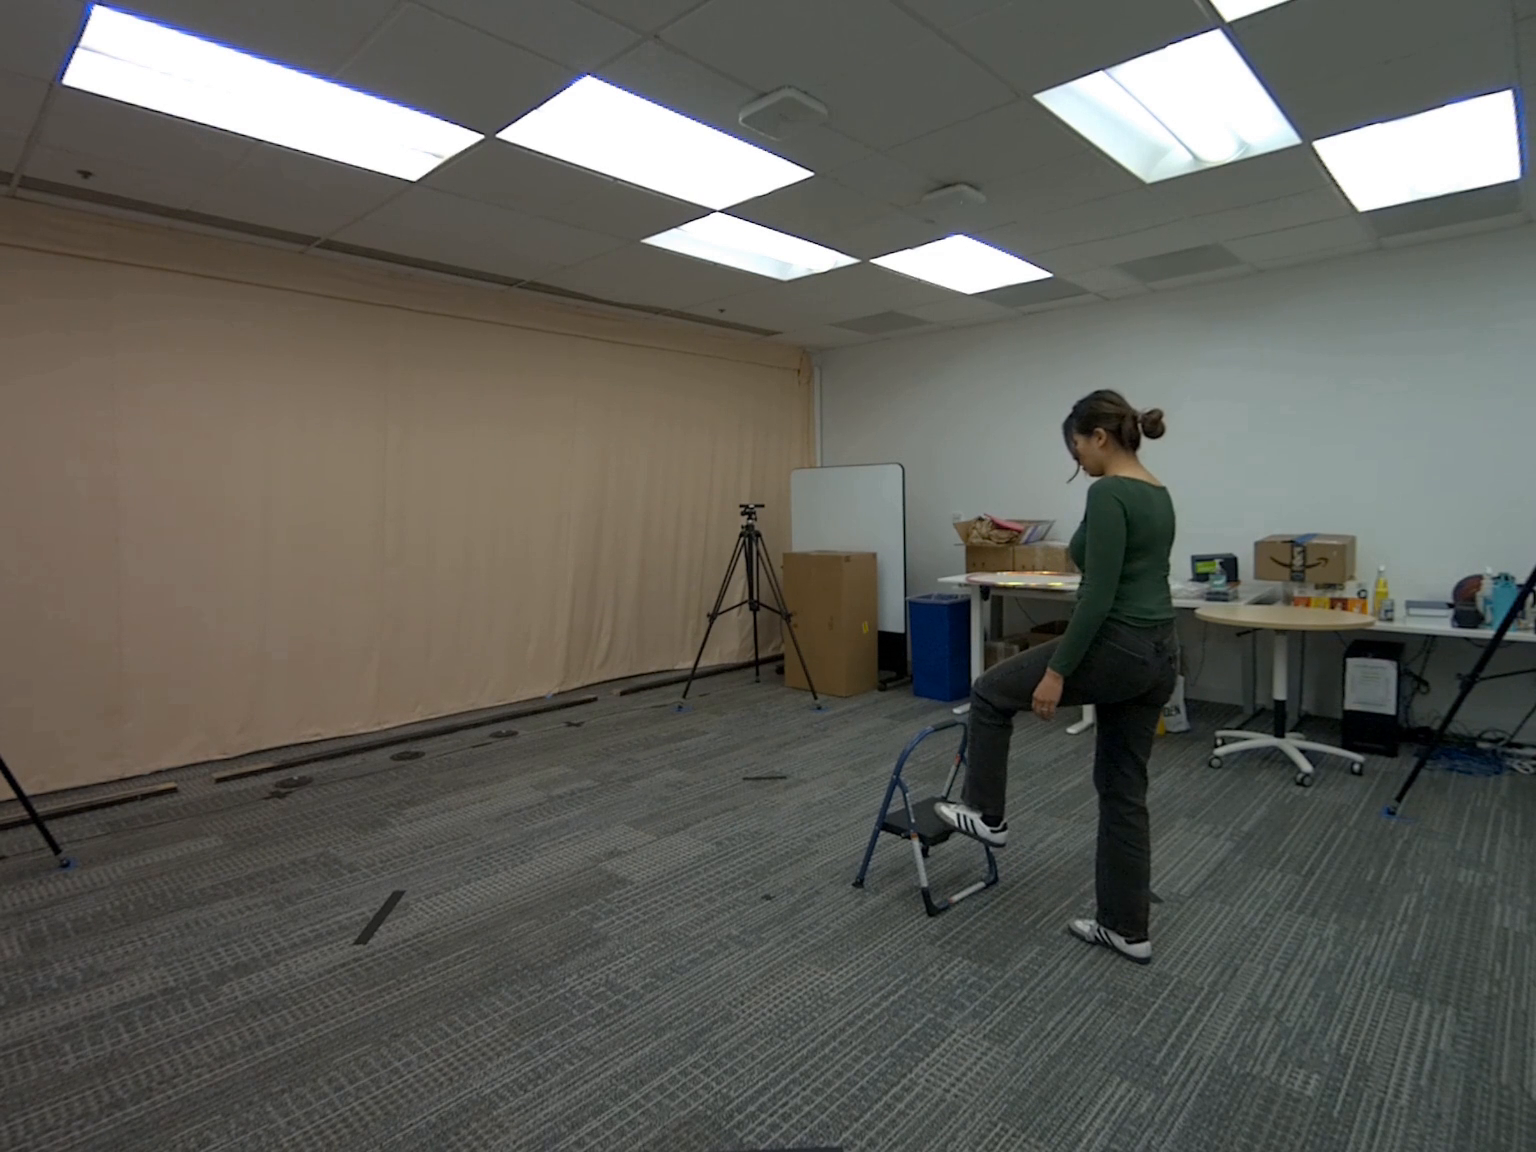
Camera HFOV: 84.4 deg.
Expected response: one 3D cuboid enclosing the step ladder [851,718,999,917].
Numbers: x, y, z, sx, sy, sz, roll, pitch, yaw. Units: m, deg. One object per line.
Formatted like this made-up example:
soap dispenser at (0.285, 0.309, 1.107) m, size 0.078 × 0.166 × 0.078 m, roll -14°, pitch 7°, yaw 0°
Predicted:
step ladder at (0.578, 0.818, 3.054) m, size 0.417 × 0.605 × 0.361 m, roll -4°, pitch 5°, yaw -43°
